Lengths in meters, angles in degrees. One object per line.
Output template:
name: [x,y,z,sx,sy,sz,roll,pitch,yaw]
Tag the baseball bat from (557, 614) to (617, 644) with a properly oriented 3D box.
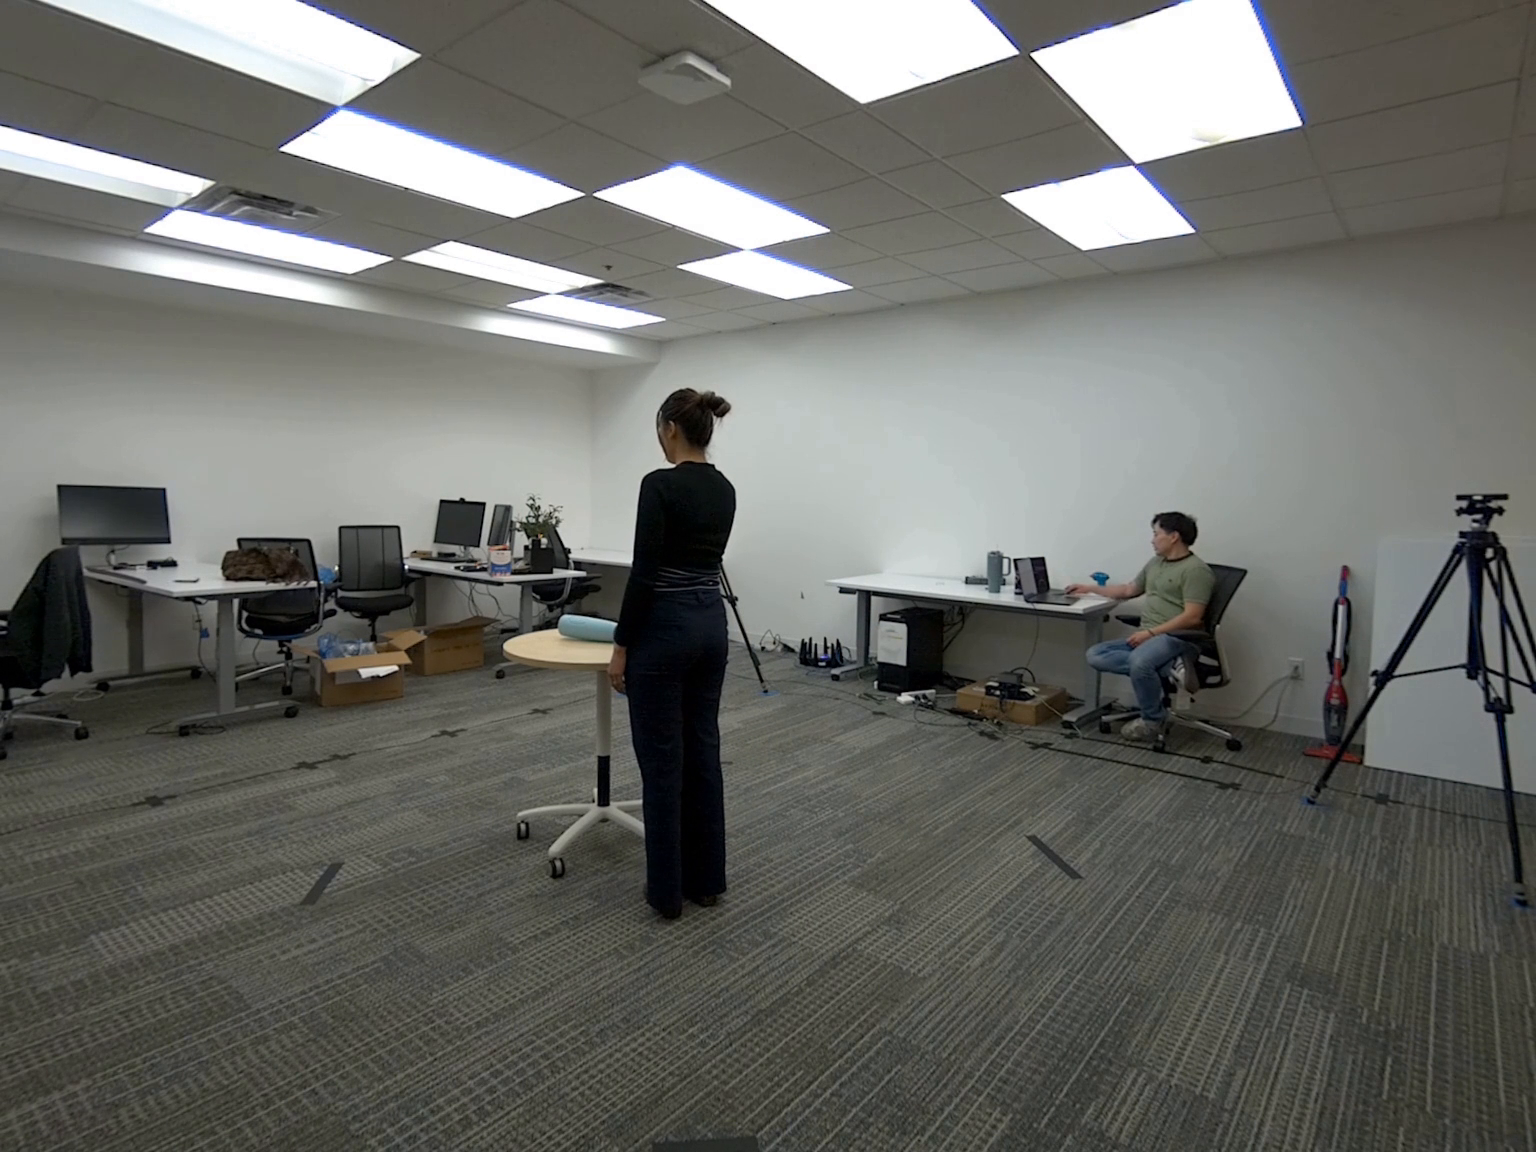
baseball bat: [-0.578,0.222,3.302,0.554,0.089,0.087,6,5,19]
